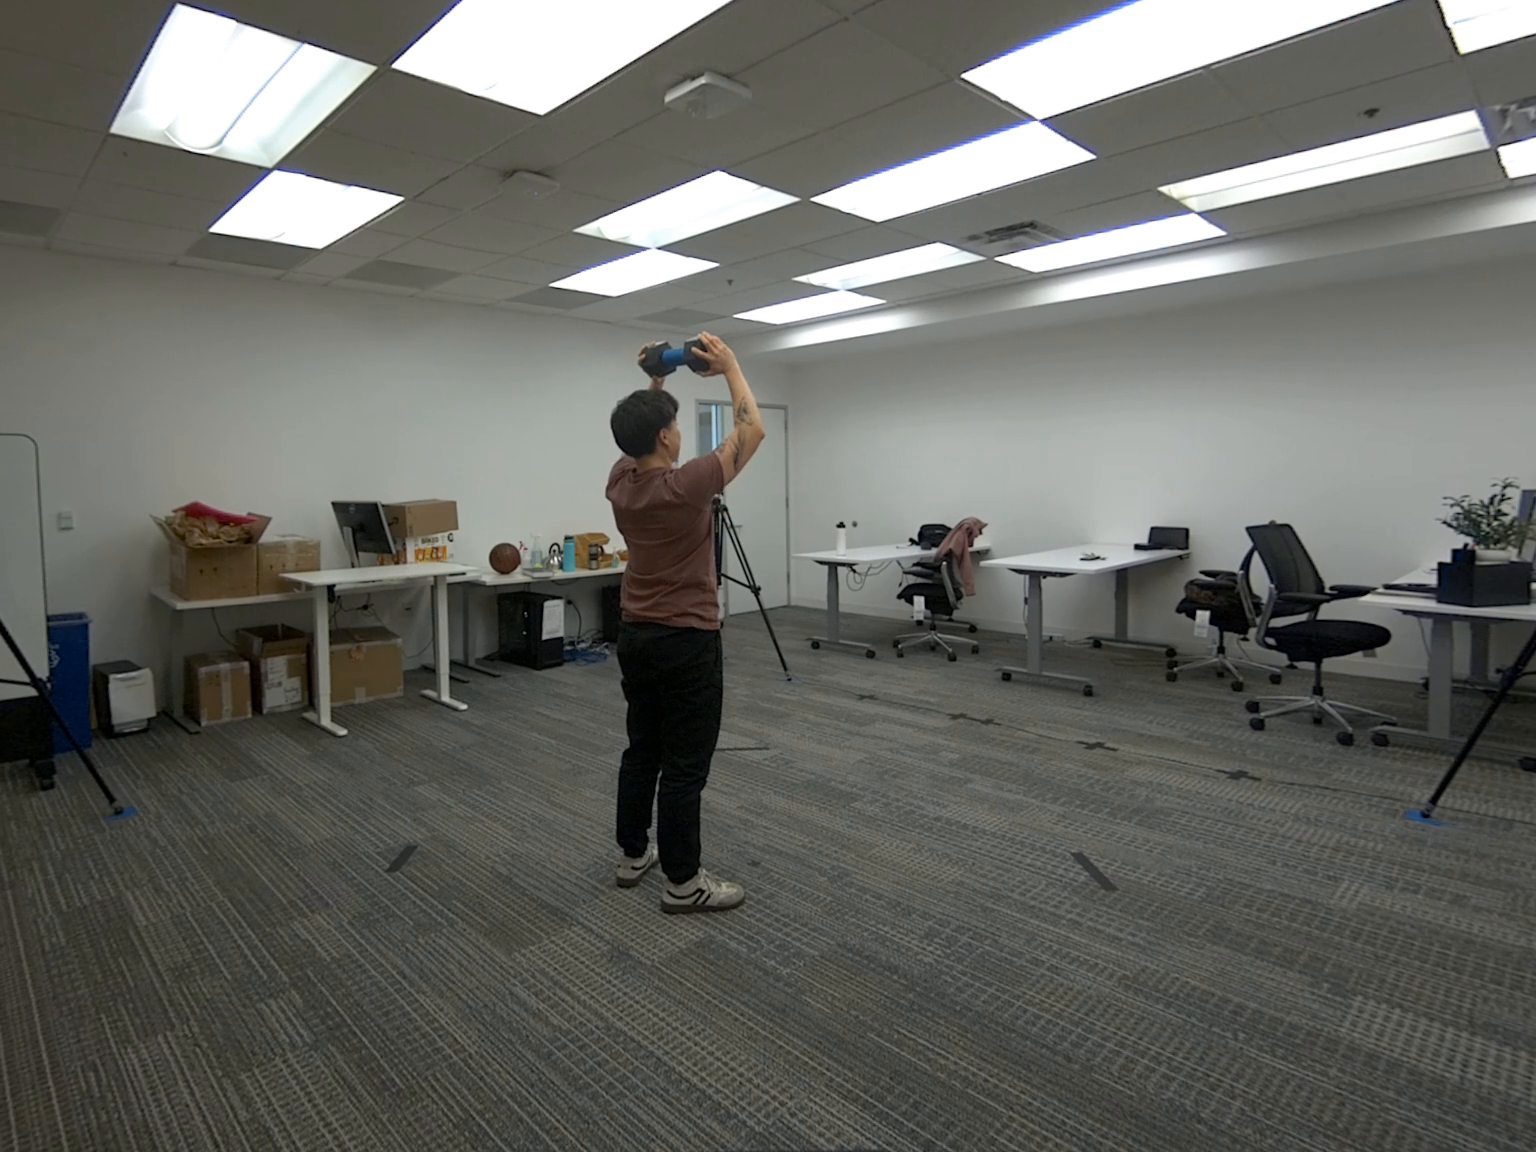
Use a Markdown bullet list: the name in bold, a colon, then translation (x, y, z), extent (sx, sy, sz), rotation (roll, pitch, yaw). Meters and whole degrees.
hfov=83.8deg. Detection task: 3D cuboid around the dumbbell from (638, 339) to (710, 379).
- **dumbbell**: translation (-0.295, -0.734, 2.885), extent (0.303, 0.109, 0.118), rotation (7, -29, 44)
